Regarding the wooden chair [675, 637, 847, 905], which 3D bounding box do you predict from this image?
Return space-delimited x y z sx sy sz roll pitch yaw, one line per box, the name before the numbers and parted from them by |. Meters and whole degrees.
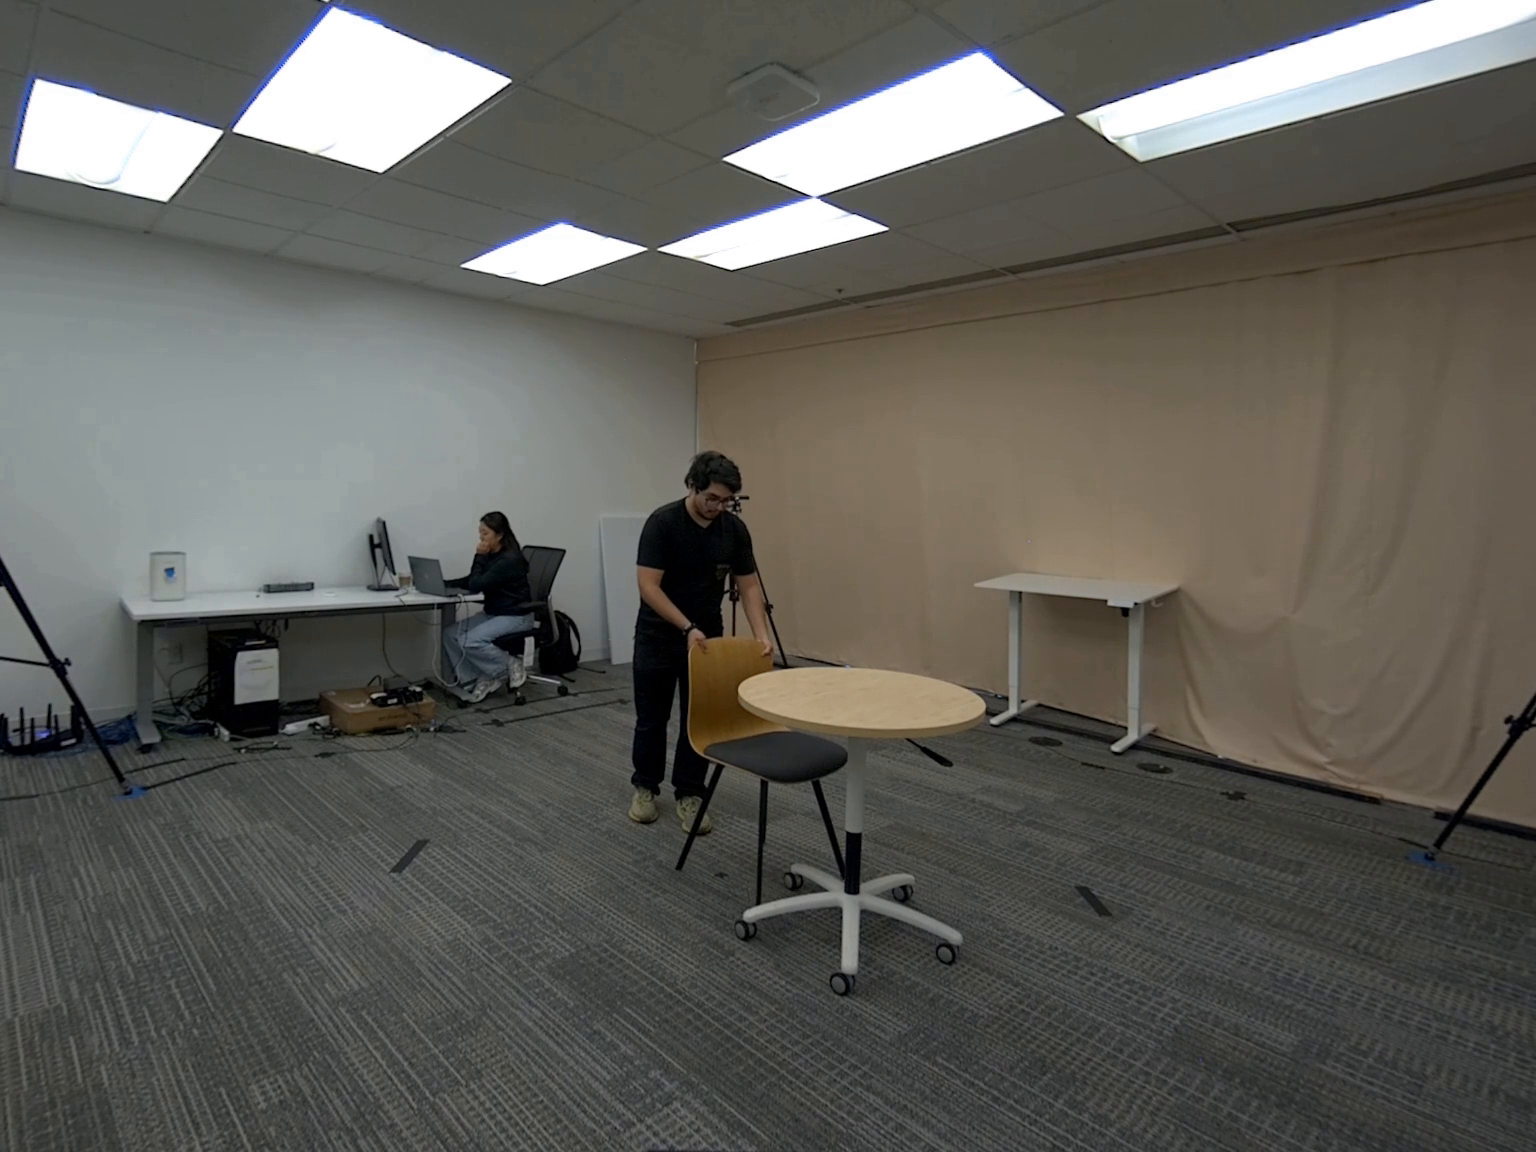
wooden chair | -0.016 0.681 3.073 0.467 0.877 0.535 -1 0 -42
